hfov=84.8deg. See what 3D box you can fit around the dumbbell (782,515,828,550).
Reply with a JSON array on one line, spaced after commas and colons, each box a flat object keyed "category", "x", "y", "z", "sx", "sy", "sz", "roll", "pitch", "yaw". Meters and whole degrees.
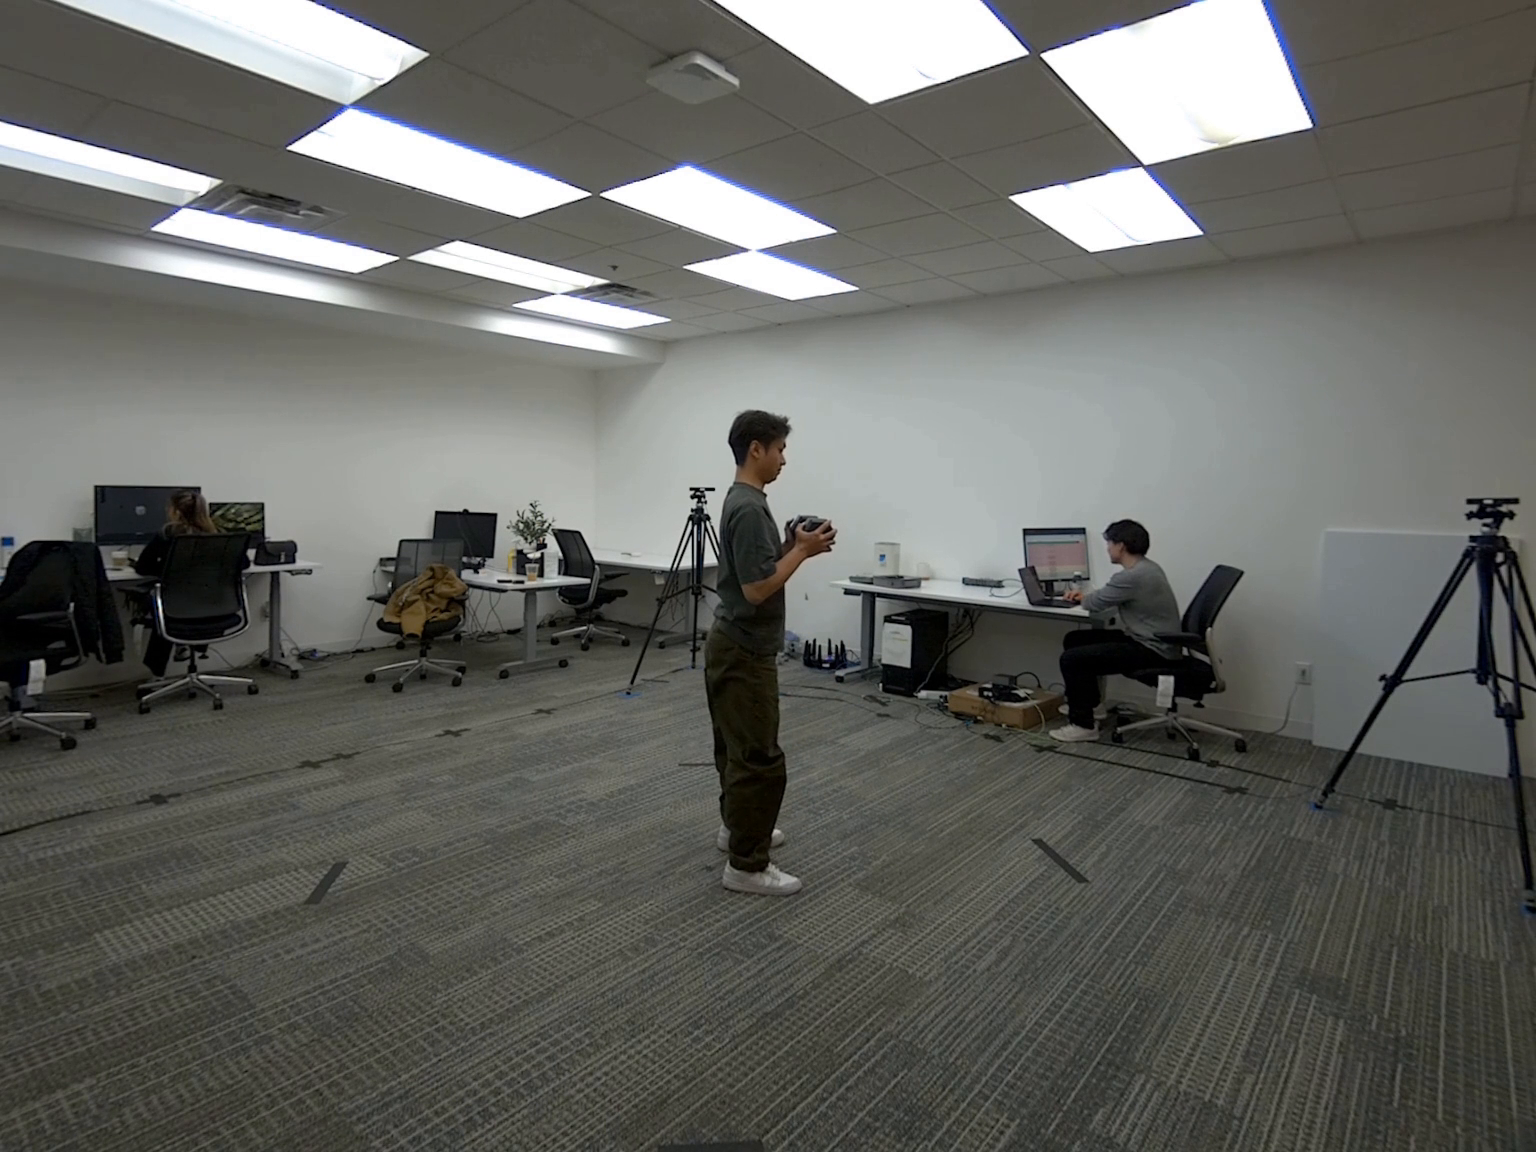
[{"category": "dumbbell", "x": 0.121, "y": -0.155, "z": 3.088, "sx": 0.107, "sy": 0.123, "sz": 0.297, "roll": 36, "pitch": 4, "yaw": -10}]
